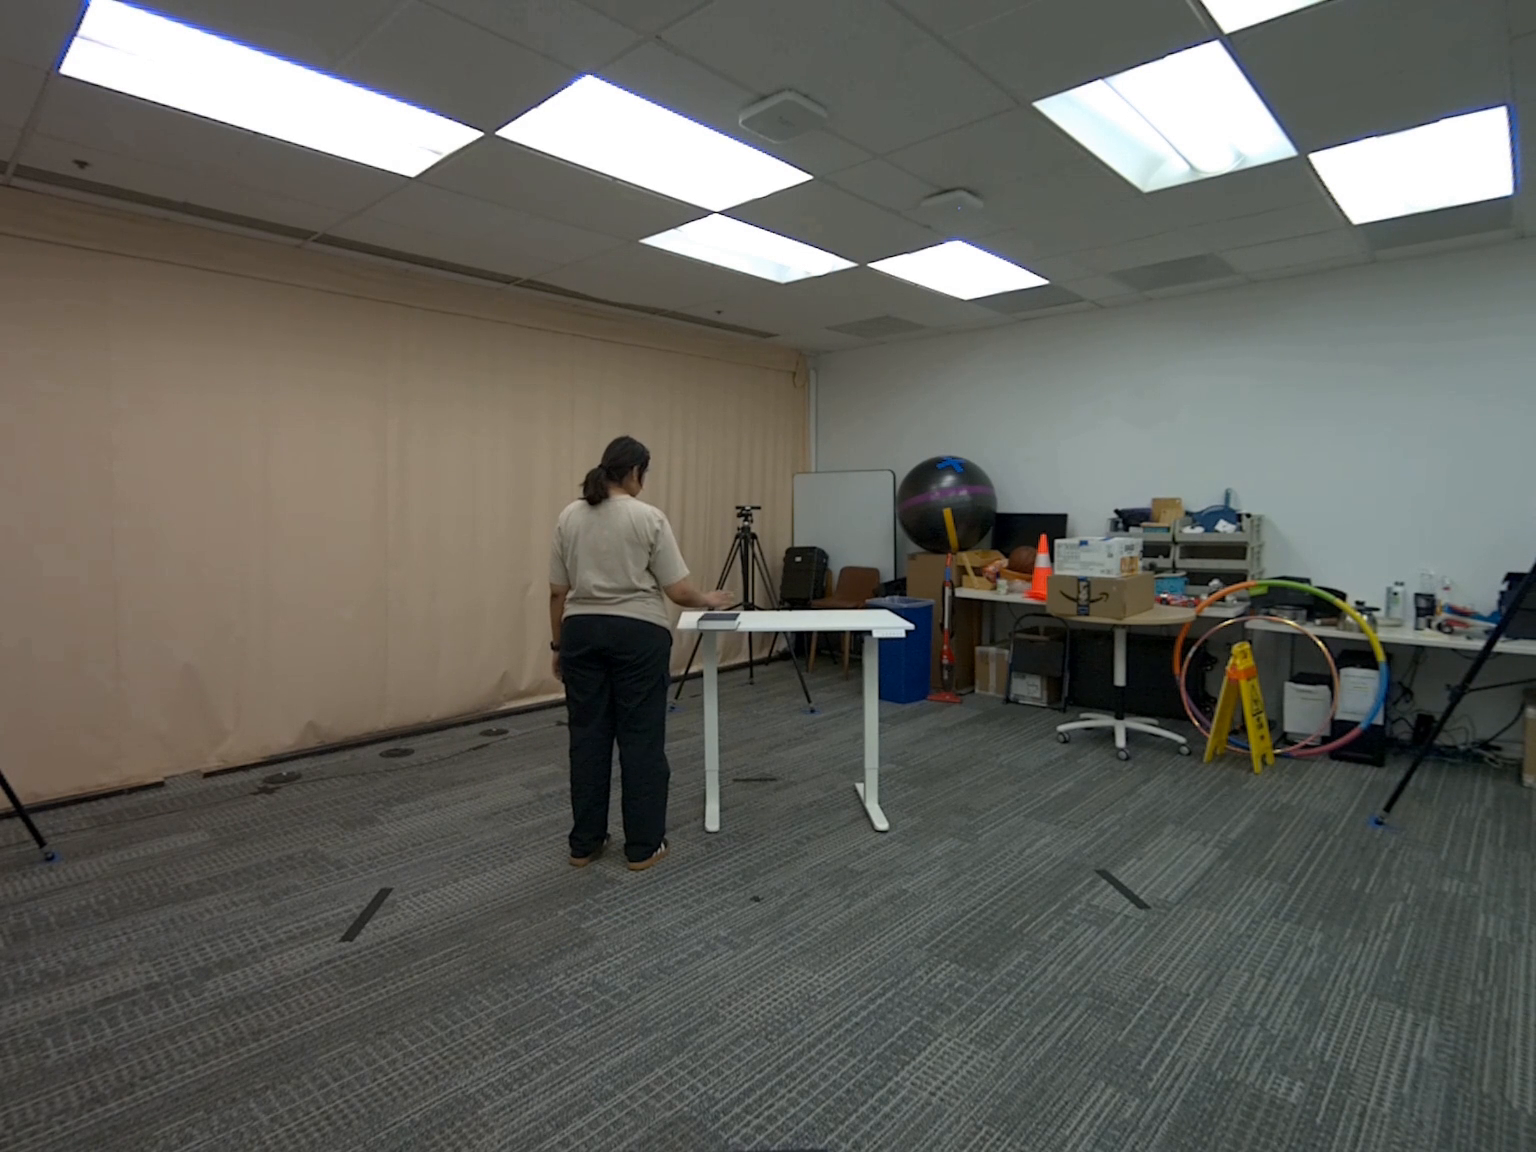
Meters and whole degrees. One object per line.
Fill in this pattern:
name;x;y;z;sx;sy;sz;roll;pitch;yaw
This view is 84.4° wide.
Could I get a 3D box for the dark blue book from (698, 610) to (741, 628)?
dark blue book;-0.199;0.192;3.613;0.164;0.045;0.245;1;4;2
